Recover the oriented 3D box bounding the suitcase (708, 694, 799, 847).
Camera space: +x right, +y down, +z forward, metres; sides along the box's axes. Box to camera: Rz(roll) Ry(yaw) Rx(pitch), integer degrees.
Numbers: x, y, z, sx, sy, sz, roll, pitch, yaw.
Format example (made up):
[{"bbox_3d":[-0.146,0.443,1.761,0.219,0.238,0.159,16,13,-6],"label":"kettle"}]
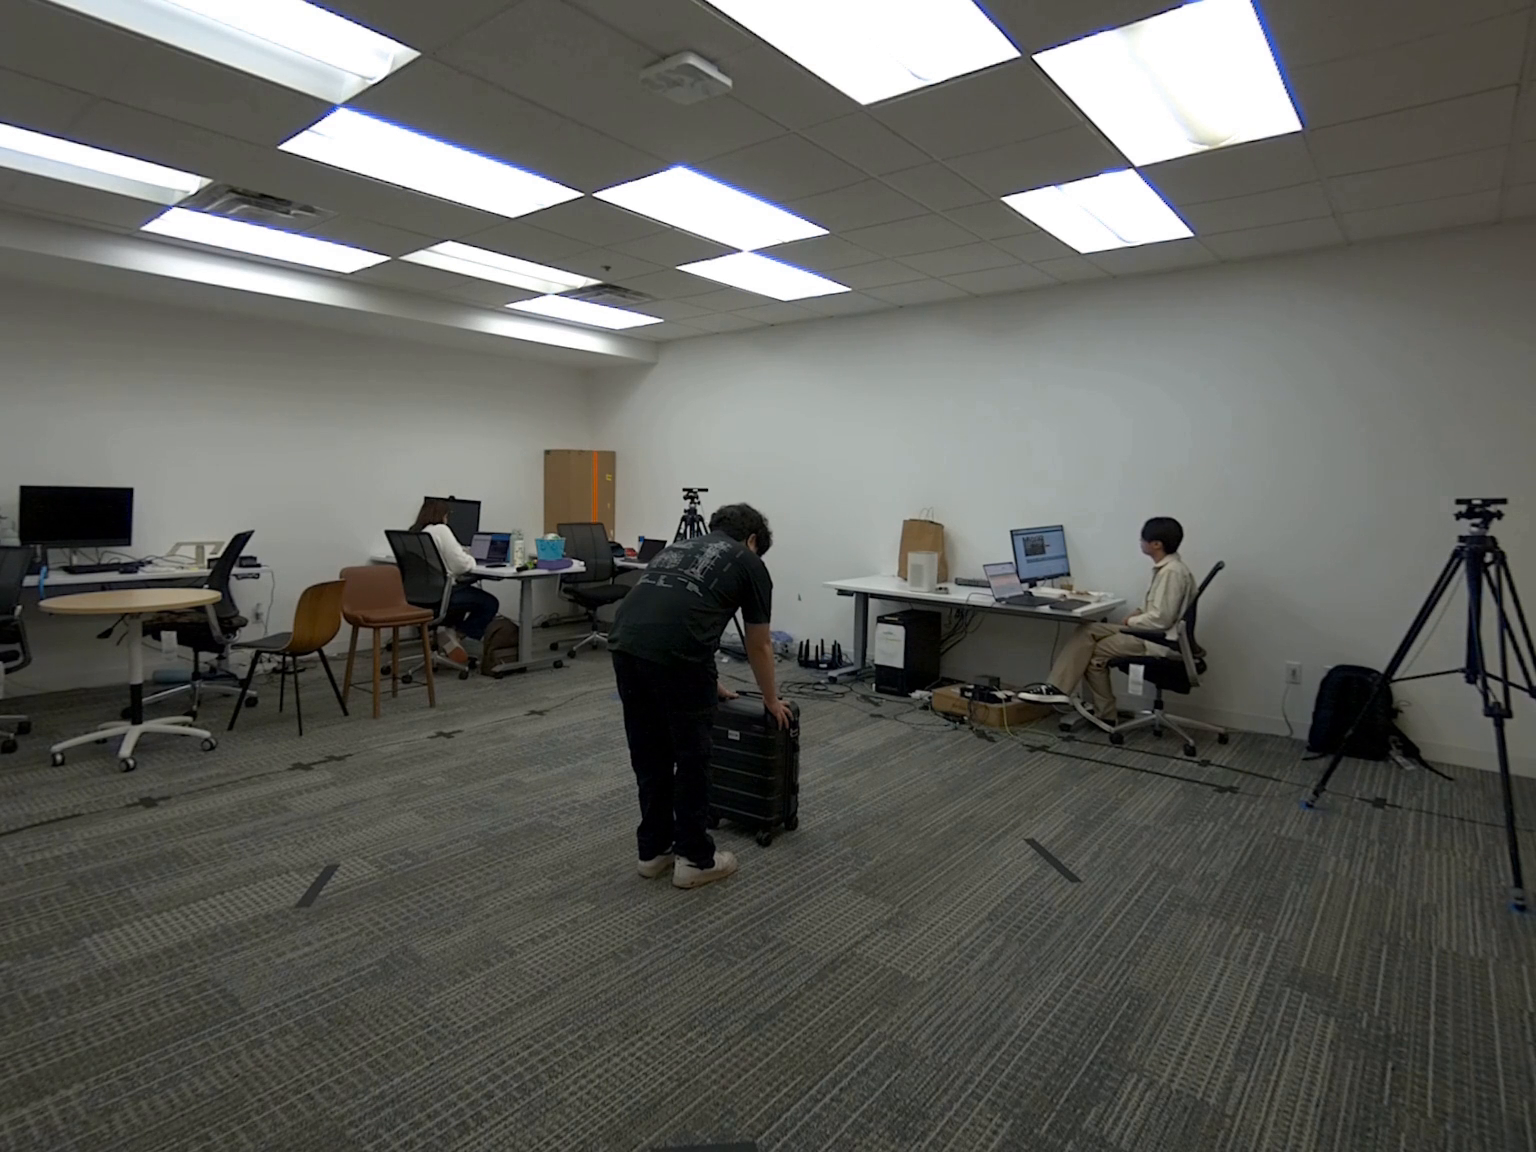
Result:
[{"bbox_3d":[-0.069,0.762,3.509,0.387,0.548,0.241,3,3,31],"label":"suitcase"}]
